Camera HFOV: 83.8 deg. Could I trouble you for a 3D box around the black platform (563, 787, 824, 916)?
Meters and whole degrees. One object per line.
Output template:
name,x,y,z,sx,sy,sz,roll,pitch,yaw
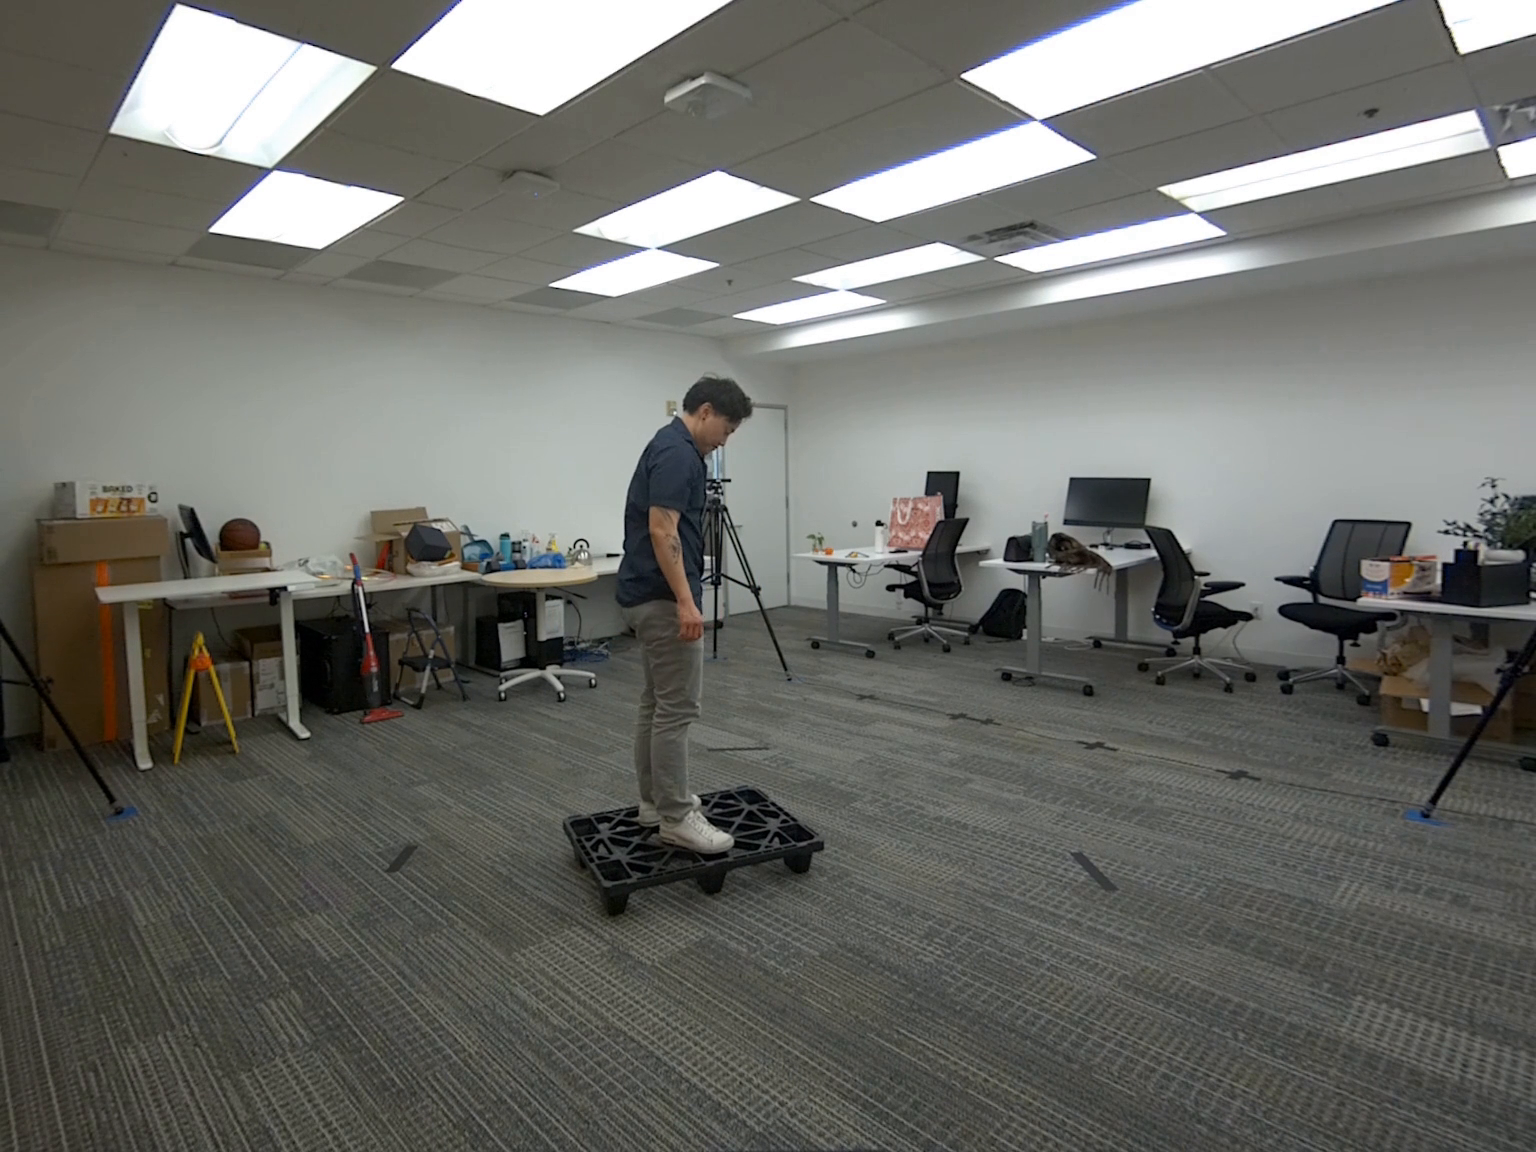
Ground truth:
black platform,-0.287,0.982,3.101,0.789,0.143,0.620,-4,7,-24
